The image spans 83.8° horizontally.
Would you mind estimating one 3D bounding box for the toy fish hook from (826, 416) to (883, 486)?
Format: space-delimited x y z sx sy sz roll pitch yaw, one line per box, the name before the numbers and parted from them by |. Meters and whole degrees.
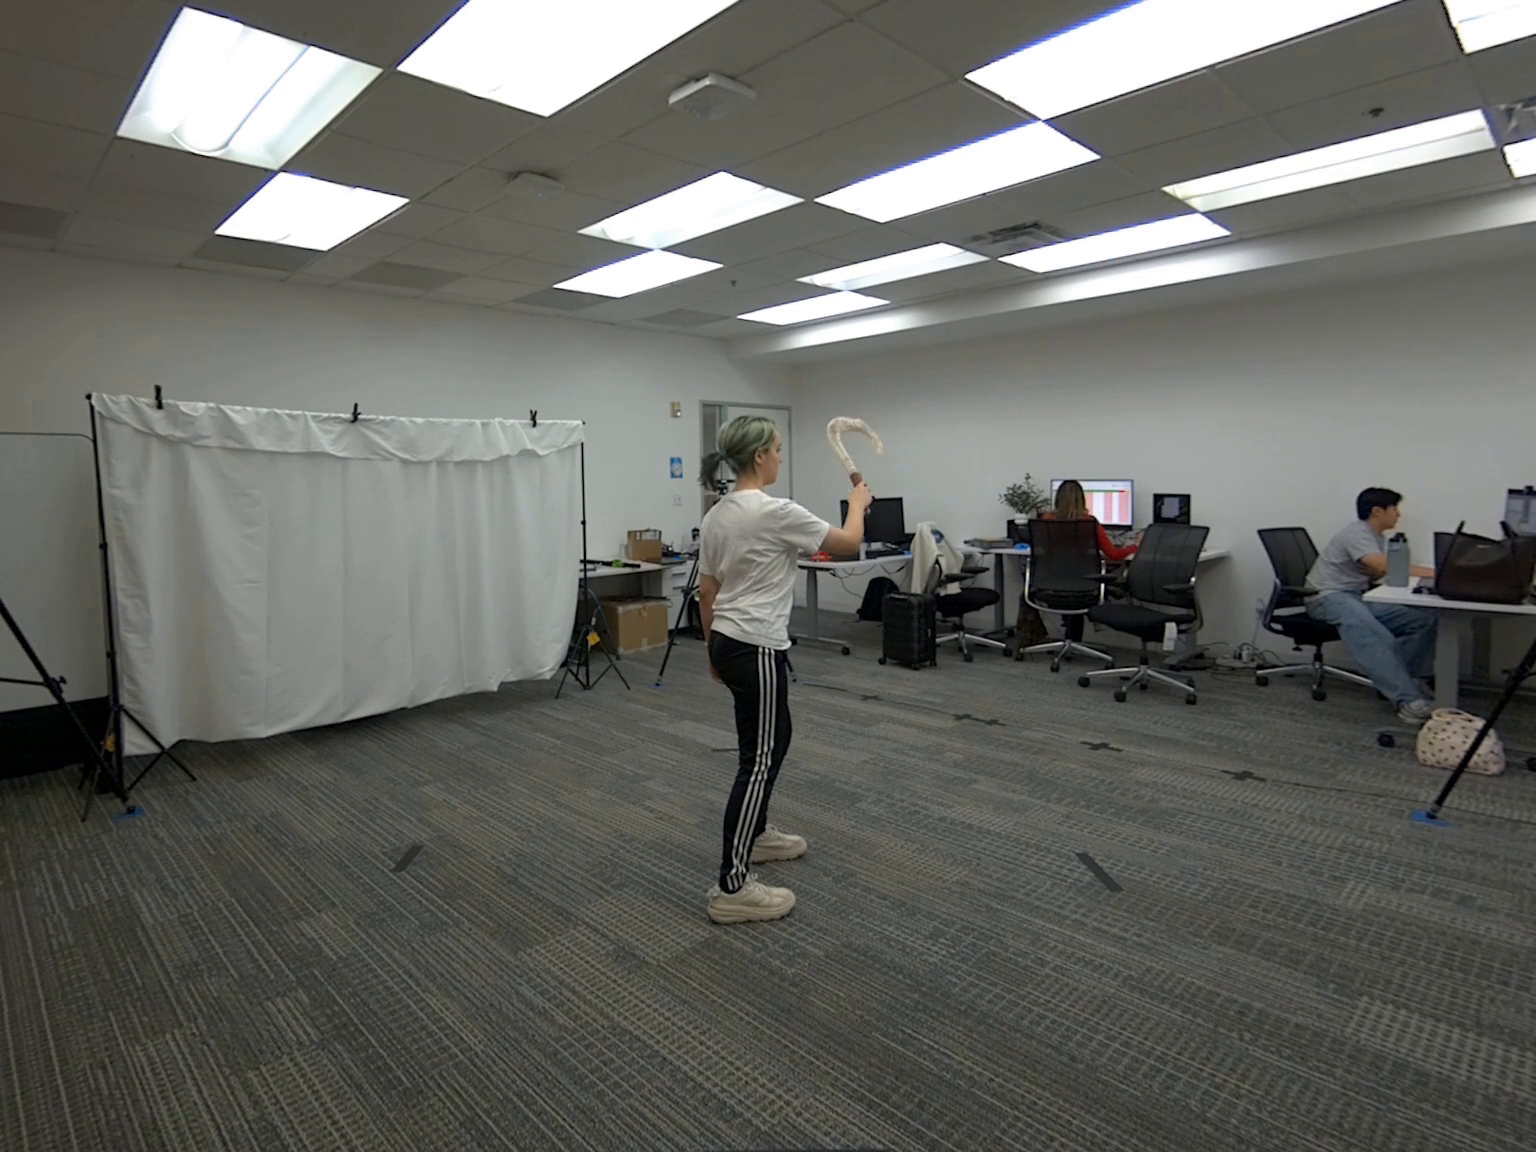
toy fish hook | 0.381 -0.406 3.295 0.222 0.521 0.047 -1 -34 -14
